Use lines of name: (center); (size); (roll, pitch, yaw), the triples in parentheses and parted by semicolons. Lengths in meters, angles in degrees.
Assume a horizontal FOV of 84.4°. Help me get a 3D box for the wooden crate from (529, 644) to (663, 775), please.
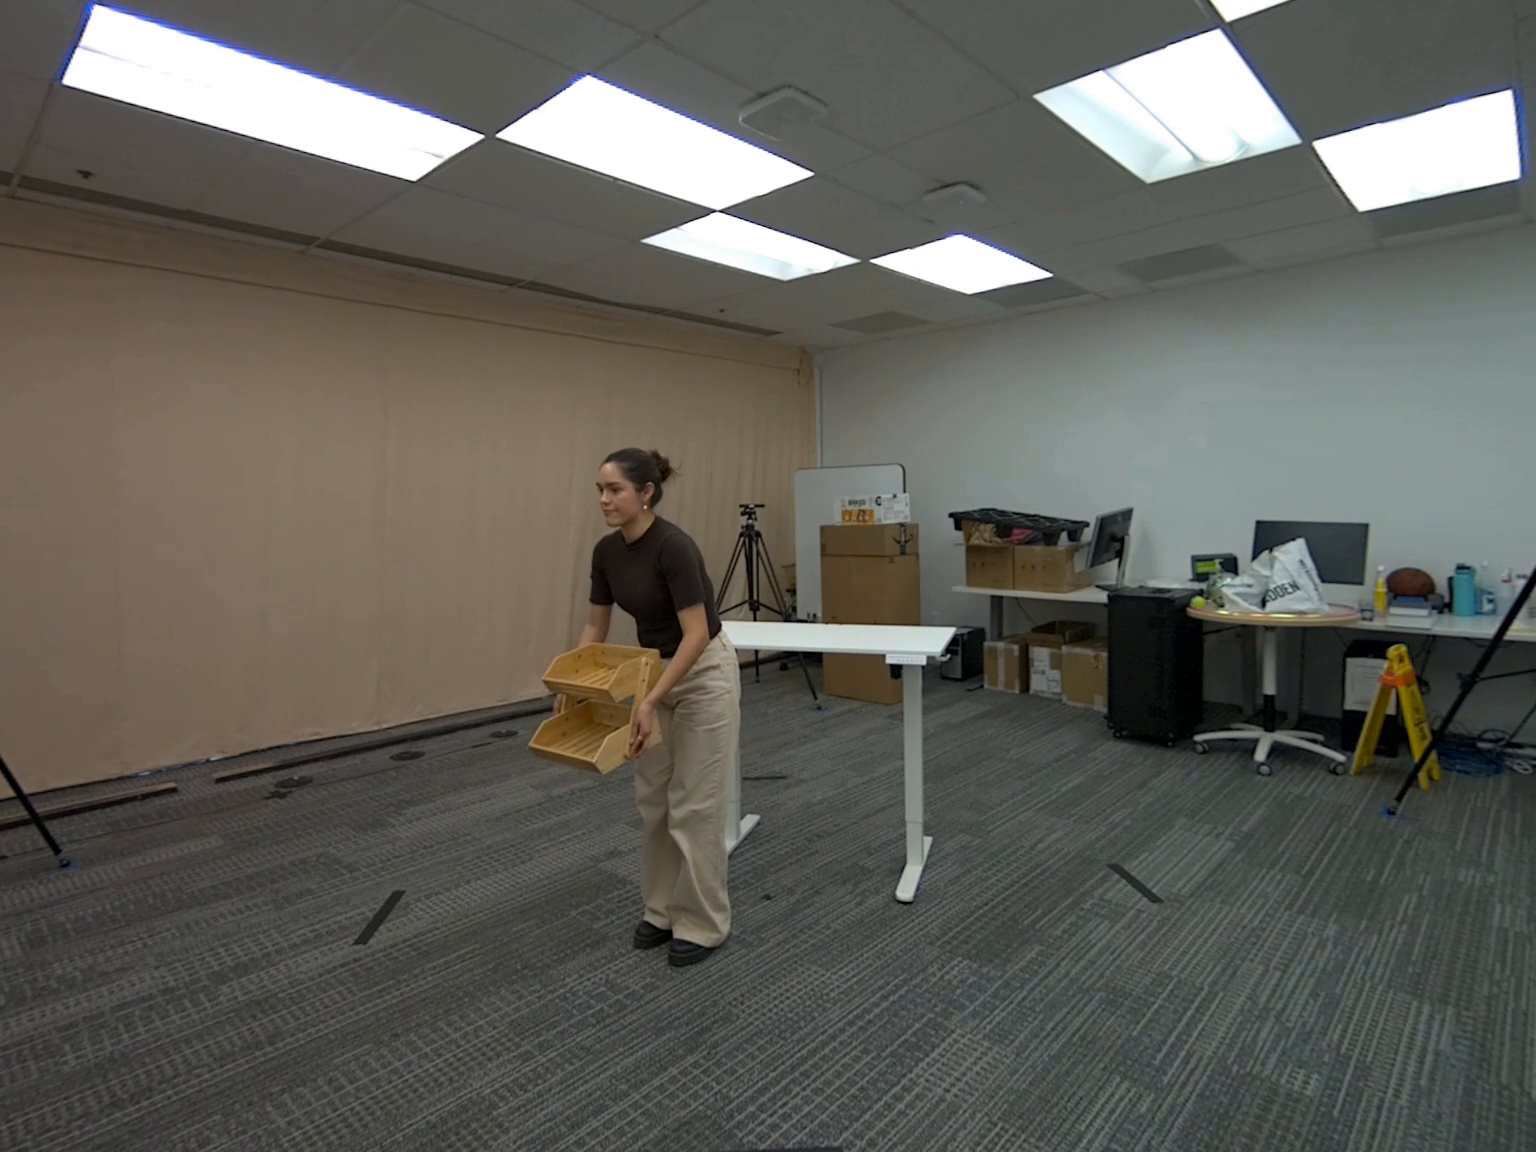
wooden crate: (-0.498, 0.371, 2.444); (0.335, 0.271, 0.294); (-1, 11, 39)
